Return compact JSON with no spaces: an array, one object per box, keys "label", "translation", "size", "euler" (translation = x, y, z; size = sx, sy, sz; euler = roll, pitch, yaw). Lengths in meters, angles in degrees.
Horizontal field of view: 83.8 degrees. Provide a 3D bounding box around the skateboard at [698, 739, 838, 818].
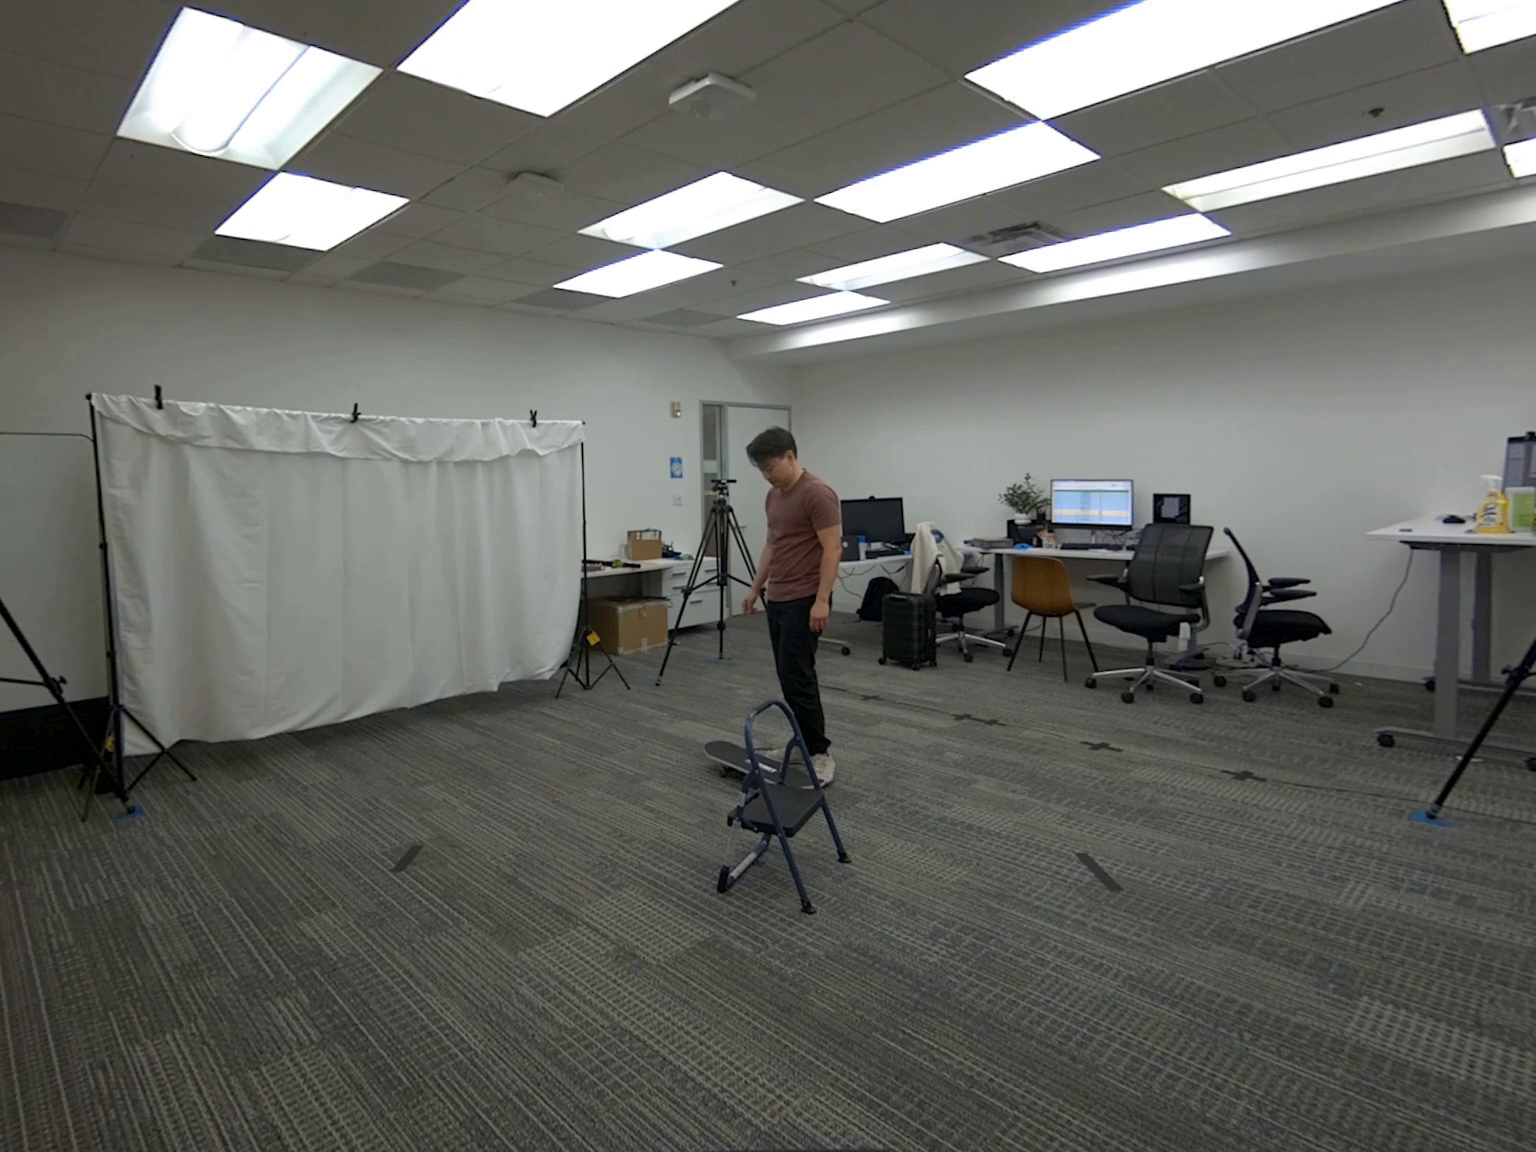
[{"label":"skateboard","translation":[-0.024,0.906,3.916],"size":[0.188,0.110,0.809],"euler":[-5,6,-36]}]
